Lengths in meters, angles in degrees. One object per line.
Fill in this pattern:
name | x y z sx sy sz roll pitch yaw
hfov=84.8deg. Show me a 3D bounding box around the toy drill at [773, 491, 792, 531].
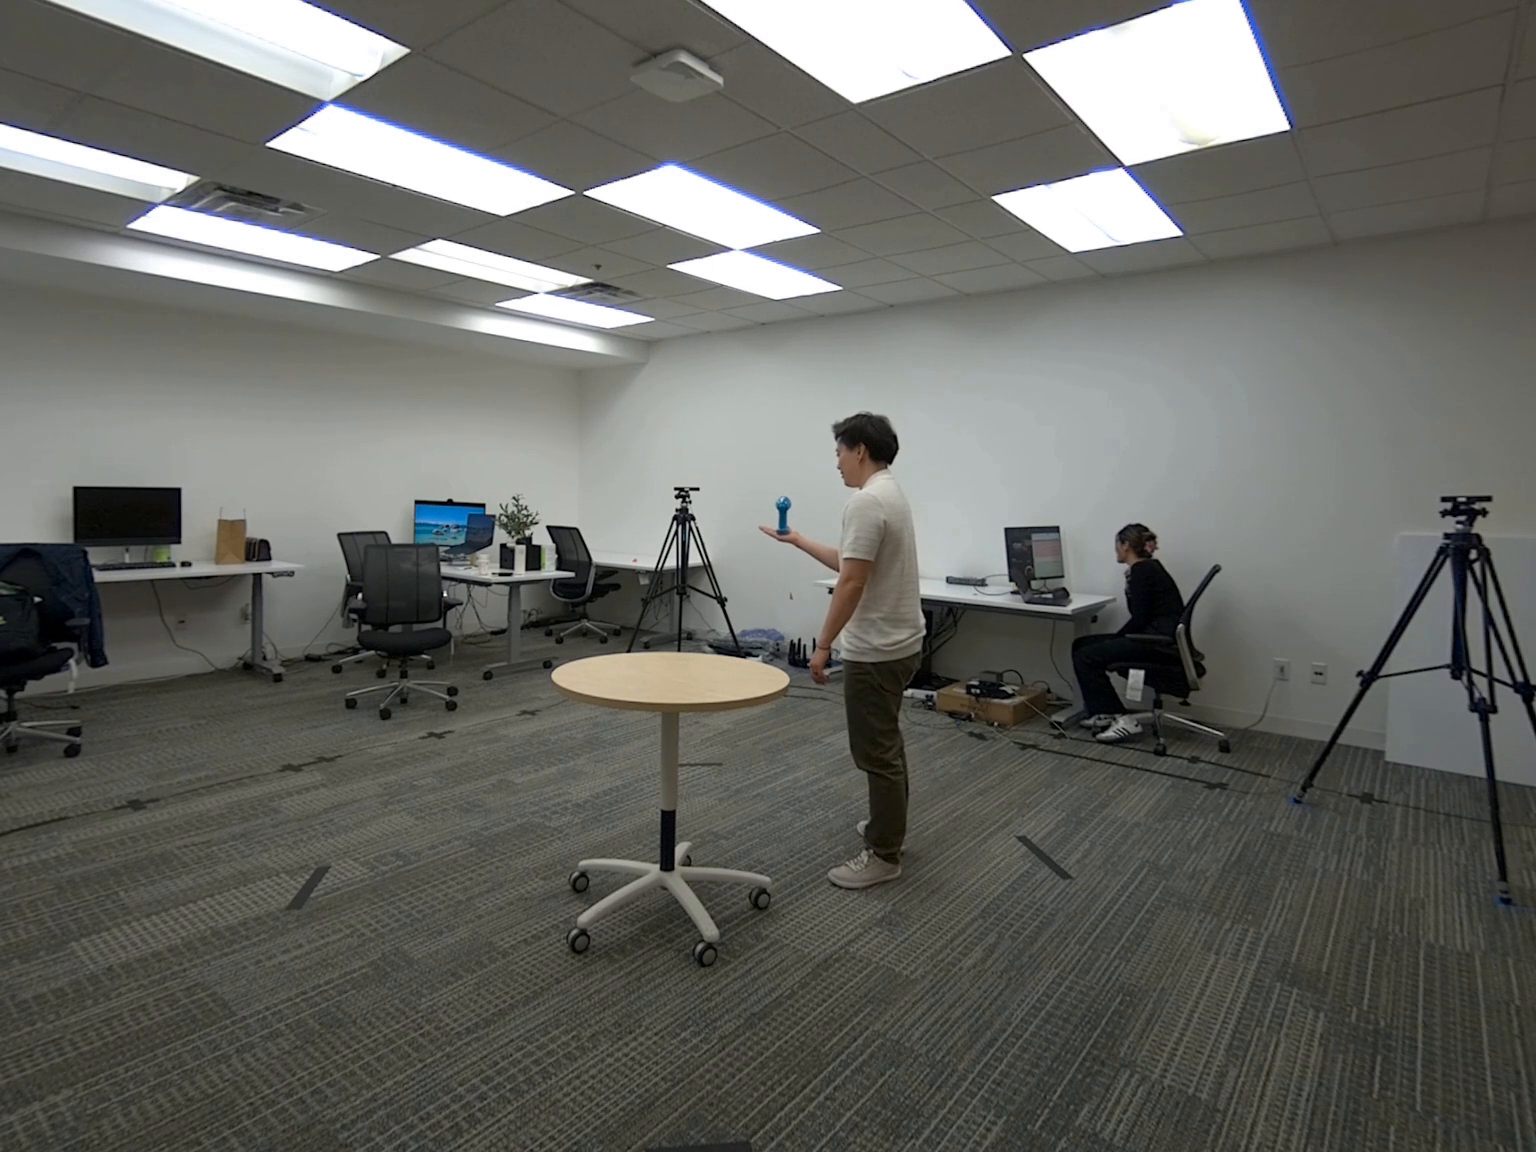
toy drill | 0.054 -0.252 3.377 0.061 0.144 0.172 1 15 -2
